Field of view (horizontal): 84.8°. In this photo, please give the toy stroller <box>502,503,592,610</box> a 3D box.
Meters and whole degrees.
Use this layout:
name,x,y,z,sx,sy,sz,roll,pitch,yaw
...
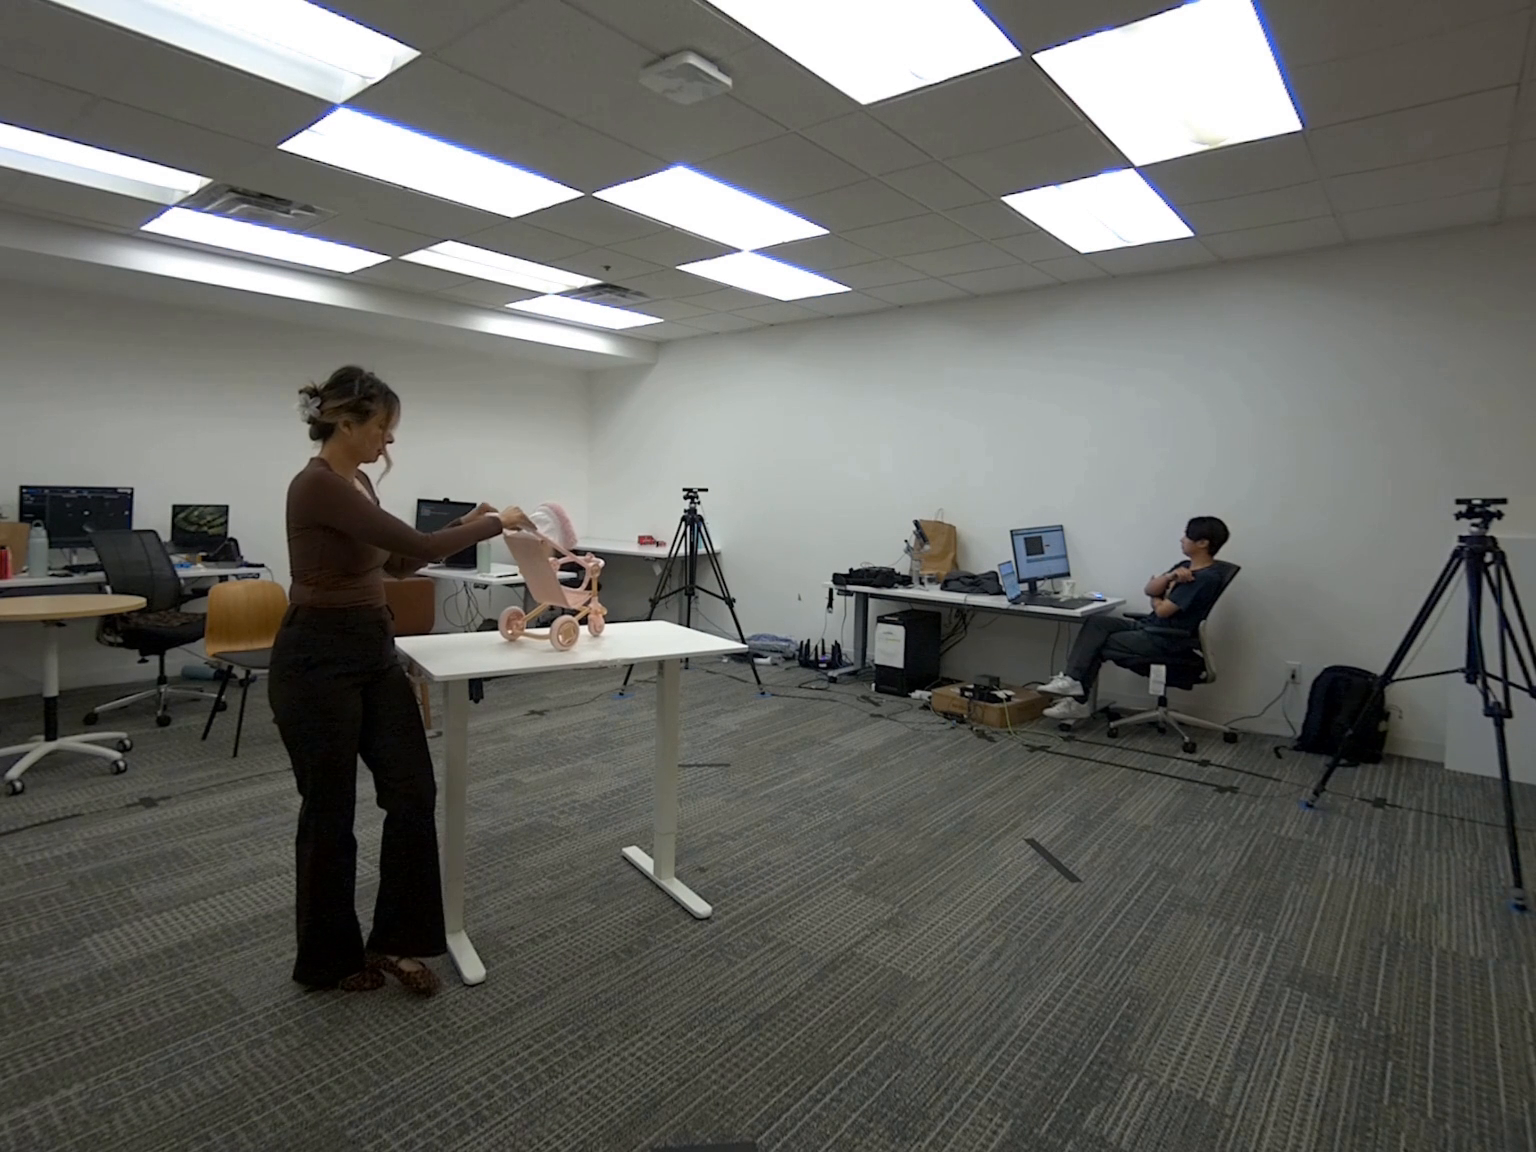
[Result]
name,x,y,z,sx,sy,sz,roll,pitch,yaw
toy stroller,-0.695,-0.005,2.722,0.291,0.525,0.336,7,22,39
